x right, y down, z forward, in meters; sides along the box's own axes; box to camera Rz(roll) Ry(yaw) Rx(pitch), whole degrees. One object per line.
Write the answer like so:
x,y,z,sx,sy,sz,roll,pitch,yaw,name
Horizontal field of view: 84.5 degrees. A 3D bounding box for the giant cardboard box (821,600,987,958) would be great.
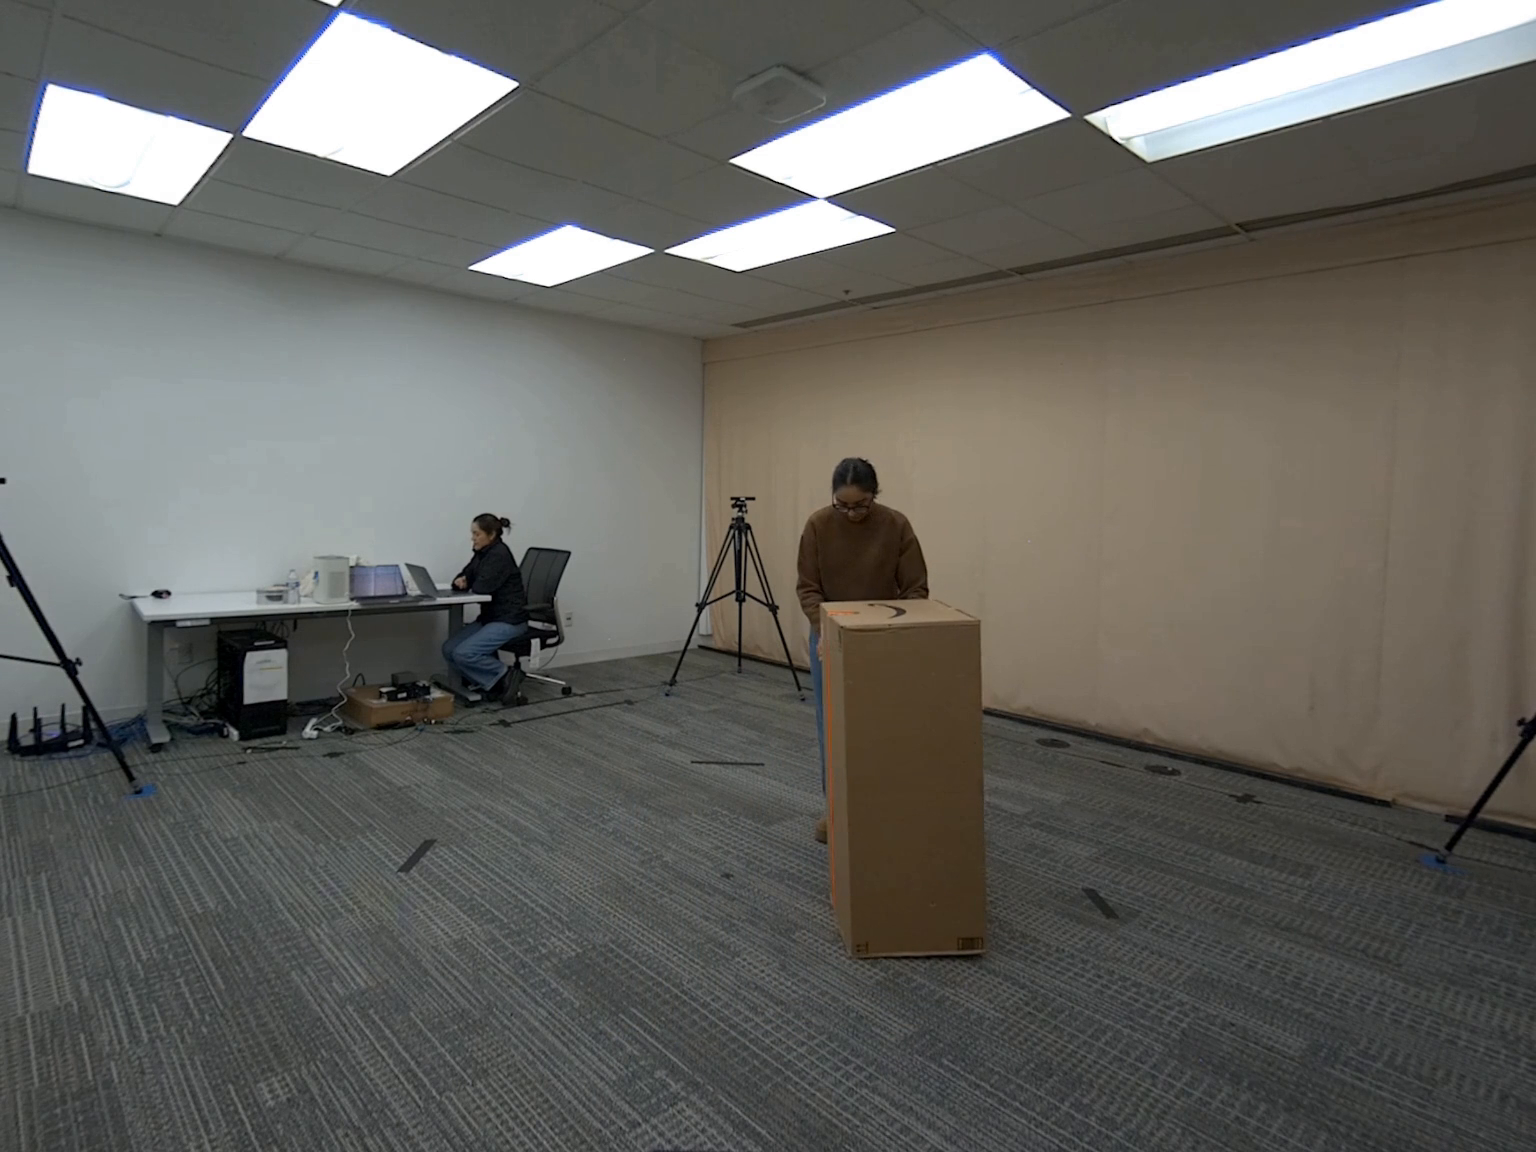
0.422,0.630,2.809,0.426,1.023,0.579,-2,4,-1,giant cardboard box
